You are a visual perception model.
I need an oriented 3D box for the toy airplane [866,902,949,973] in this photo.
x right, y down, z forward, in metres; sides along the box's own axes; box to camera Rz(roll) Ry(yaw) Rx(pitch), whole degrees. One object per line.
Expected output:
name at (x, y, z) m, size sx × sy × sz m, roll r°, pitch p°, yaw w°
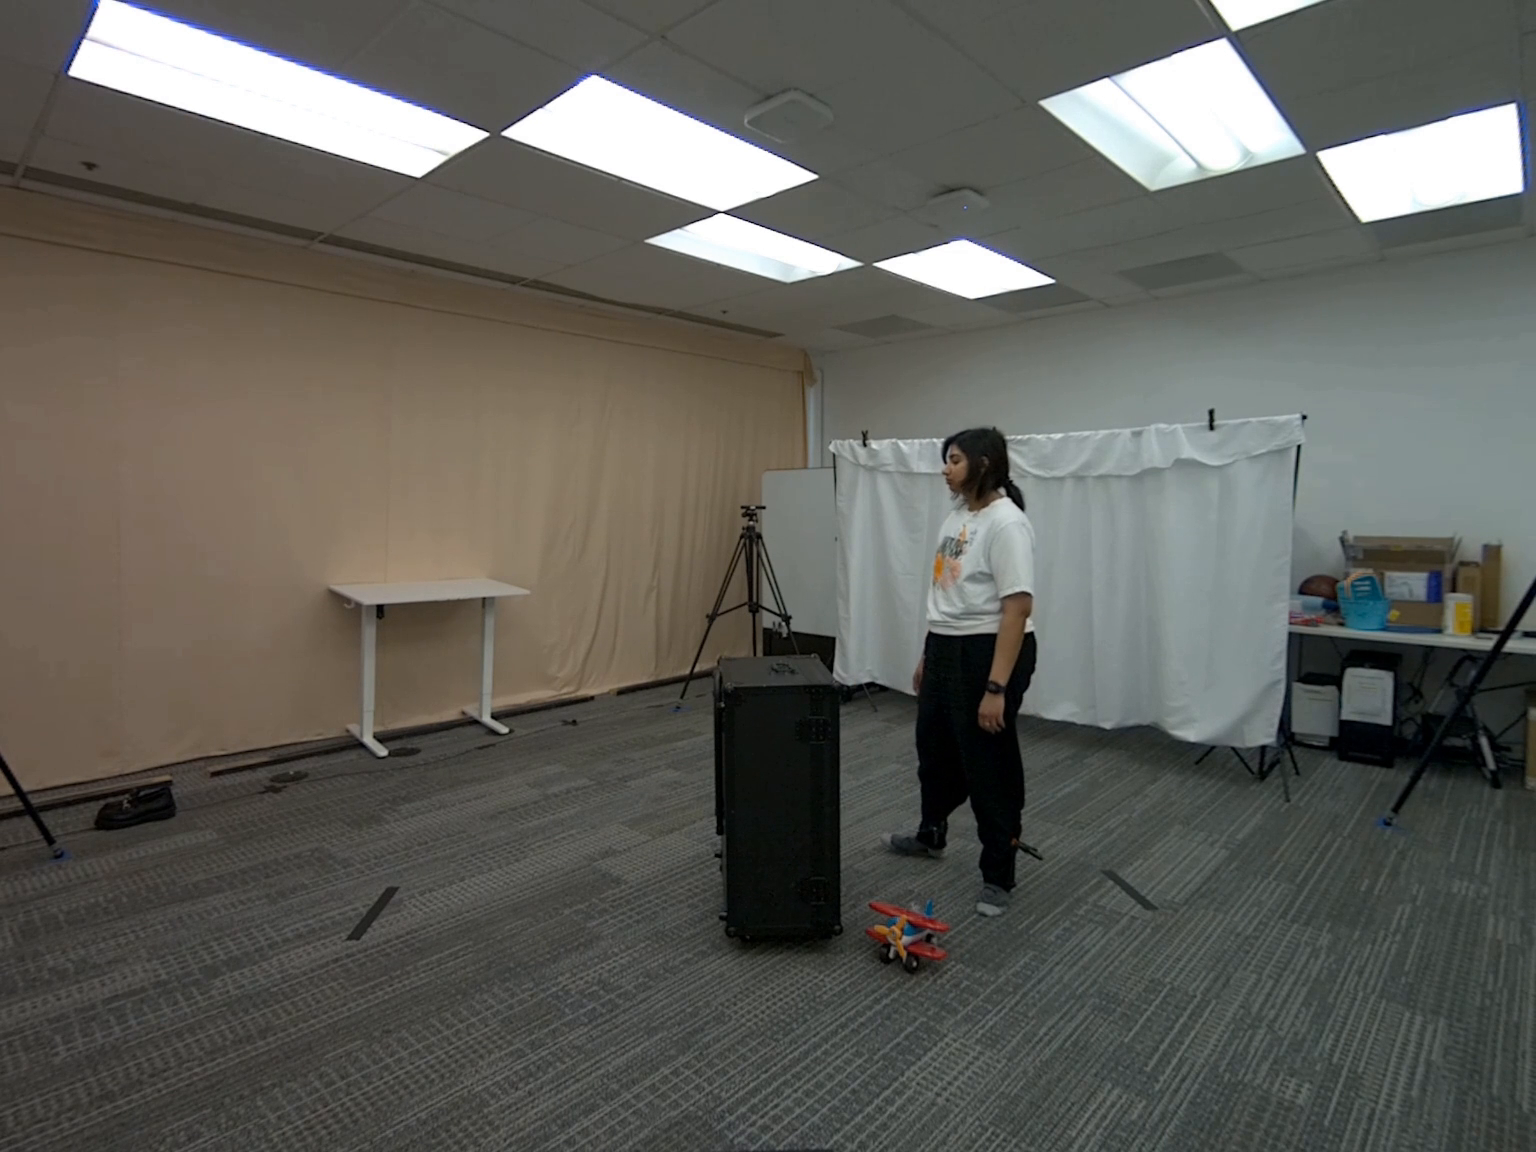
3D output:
toy airplane at (0.437, 1.103, 2.604) m, size 0.254 × 0.156 × 0.257 m, roll 1°, pitch 6°, yaw 9°
